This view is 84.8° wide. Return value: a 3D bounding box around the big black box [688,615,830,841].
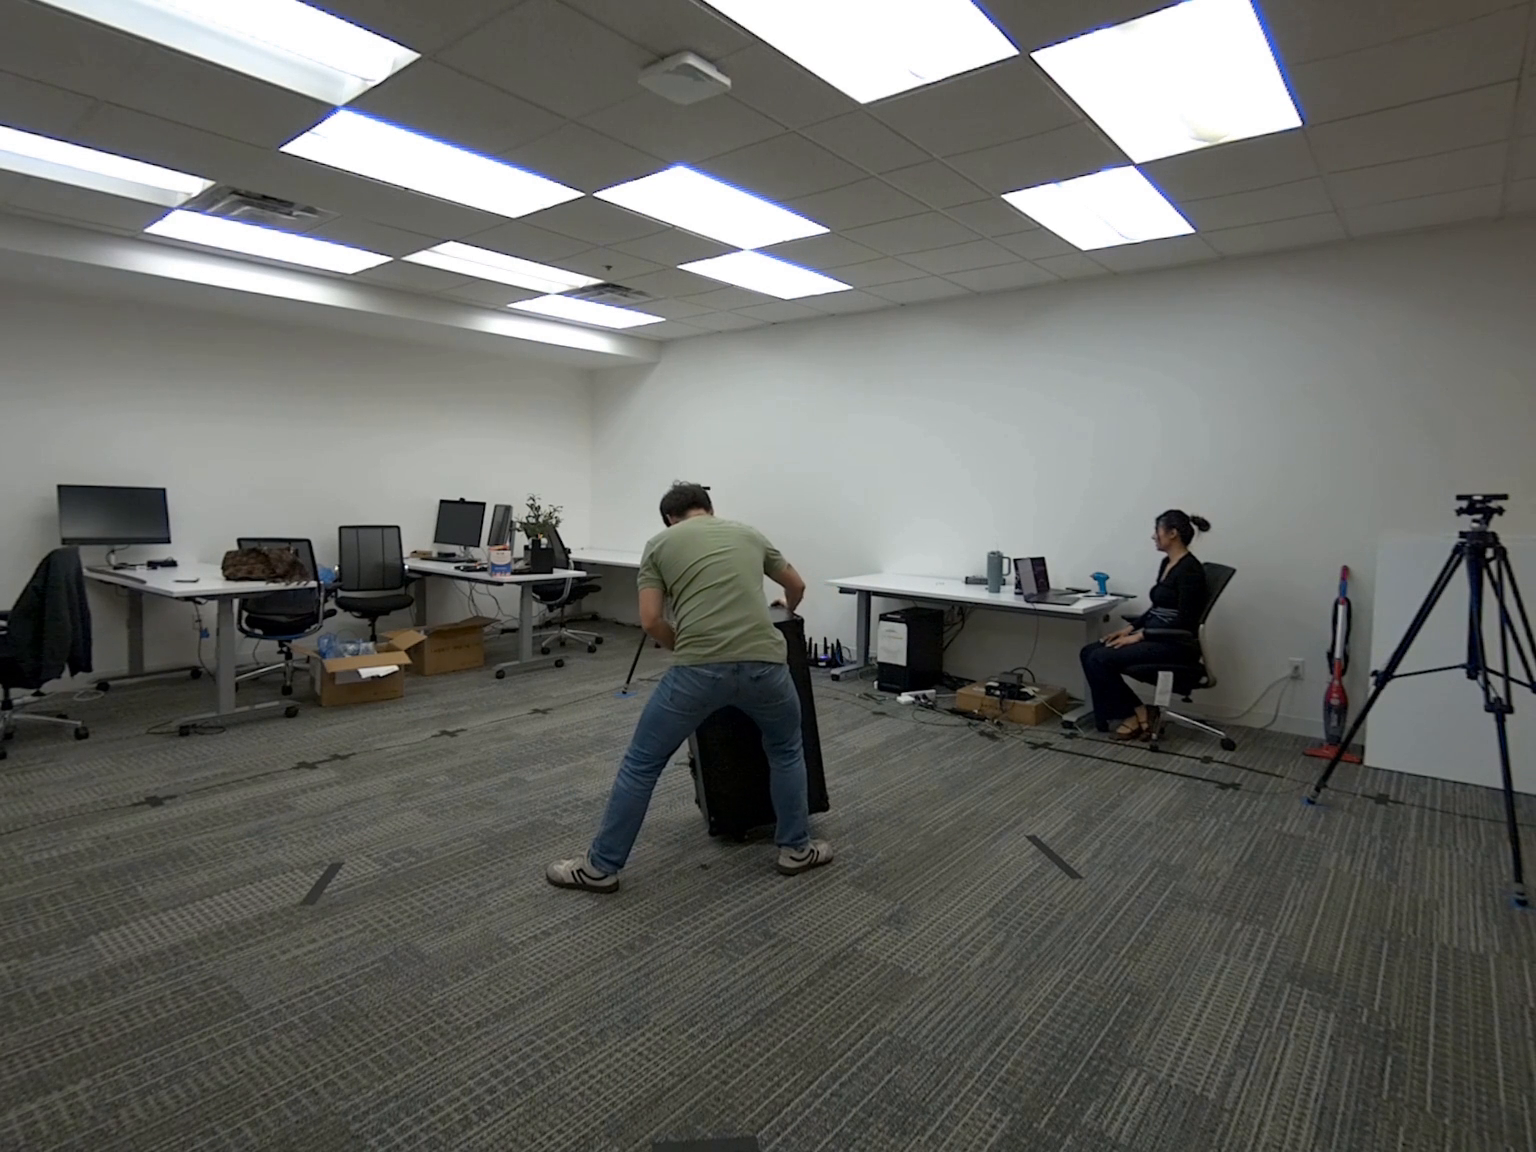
[{"bbox_3d":[-0.081,0.595,3.440,0.517,0.855,0.403,-9,7,-10],"label":"big black box"}]
